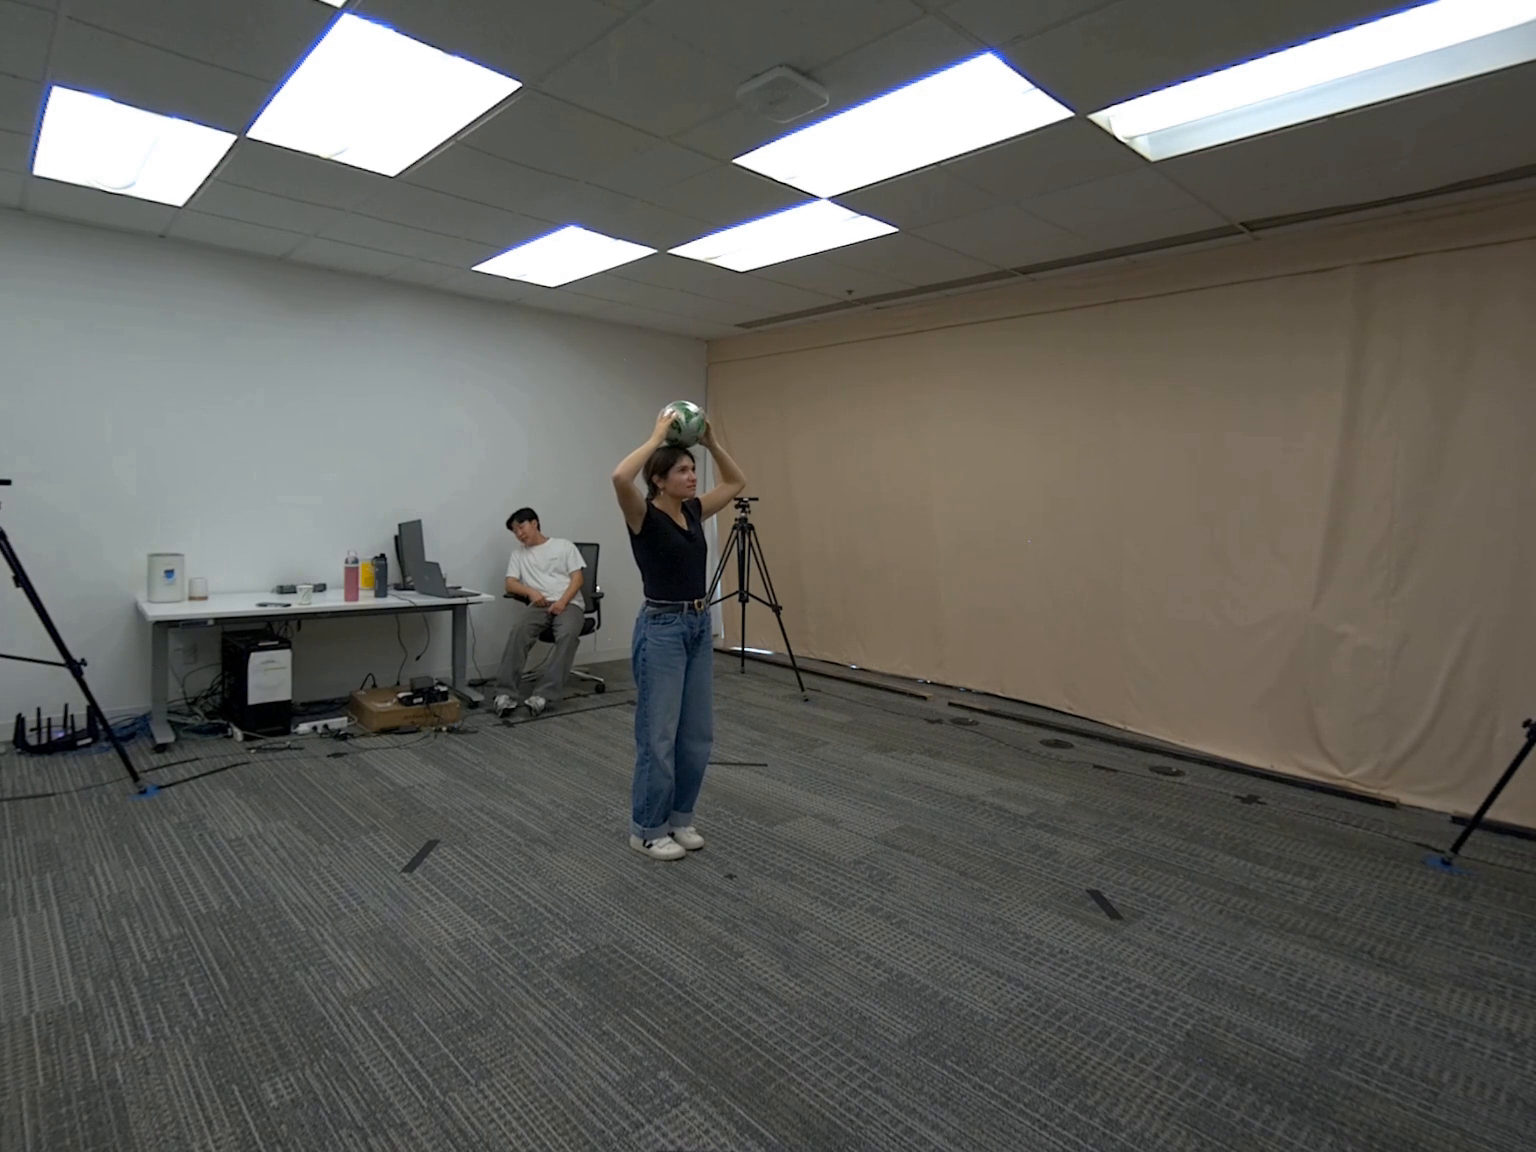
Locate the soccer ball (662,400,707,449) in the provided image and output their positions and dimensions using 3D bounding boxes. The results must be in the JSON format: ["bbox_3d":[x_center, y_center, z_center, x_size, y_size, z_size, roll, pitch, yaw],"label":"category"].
[{"bbox_3d":[-0.349,-0.591,3.295,0.187,0.187,0.188,1,4,-1],"label":"soccer ball"}]
